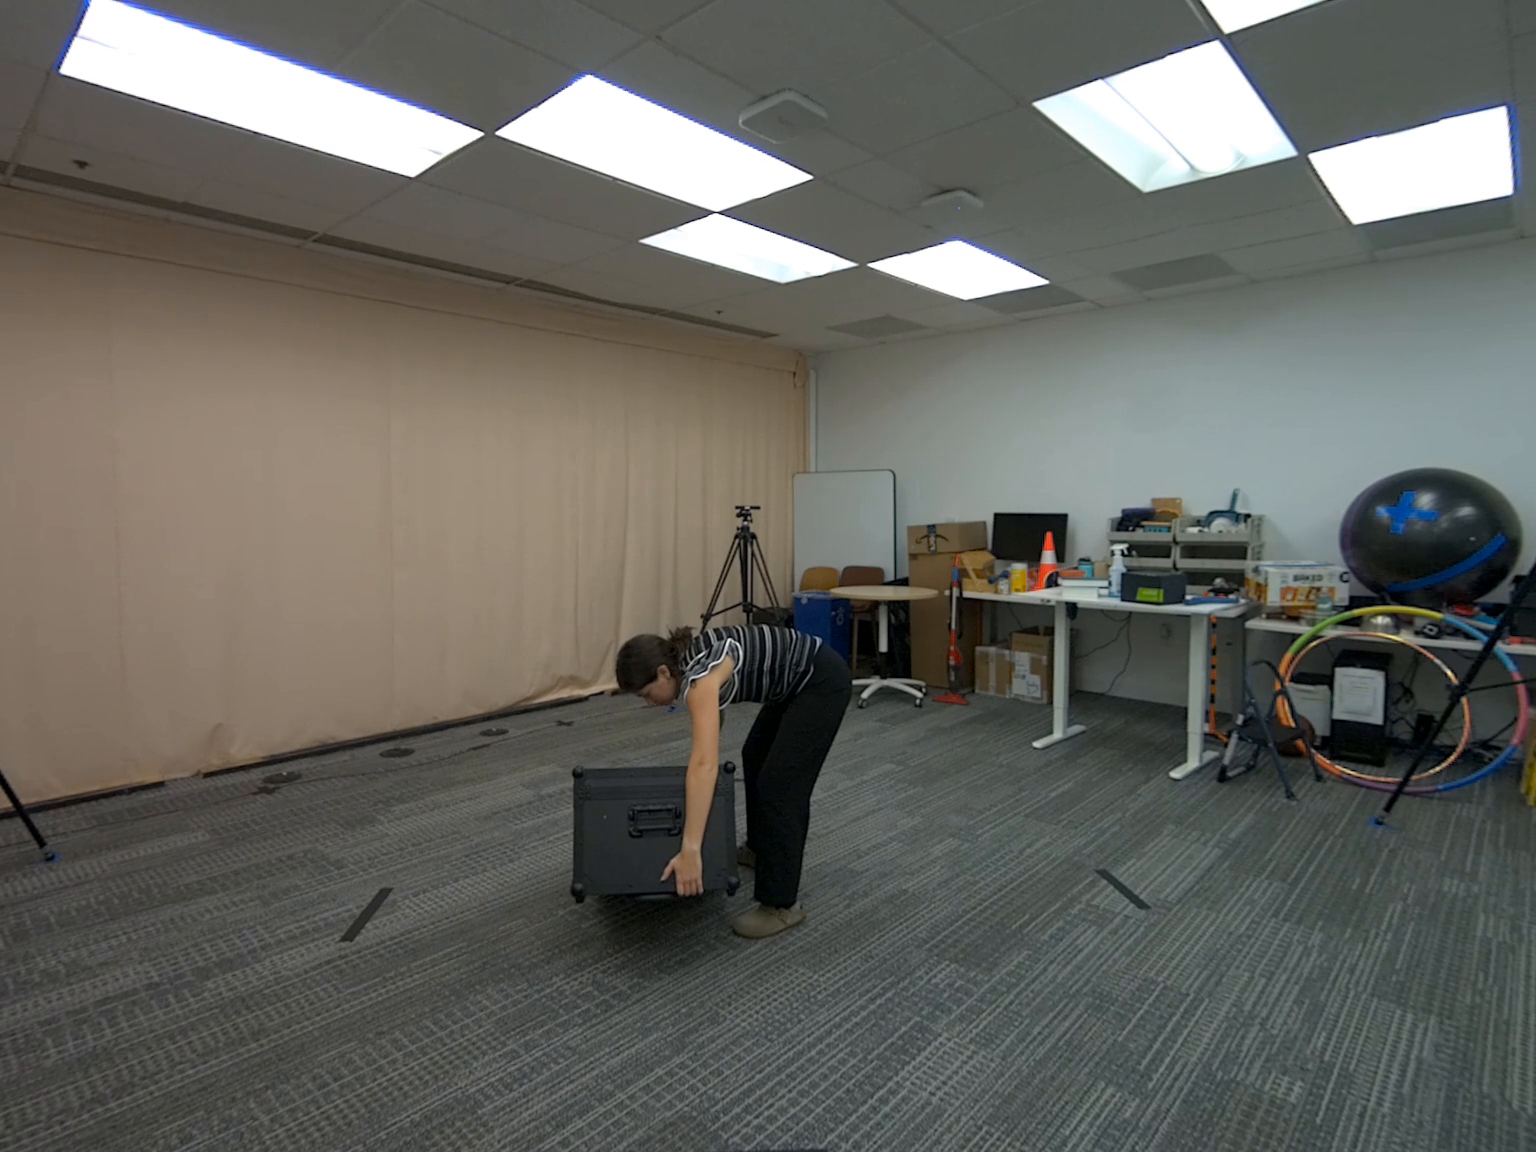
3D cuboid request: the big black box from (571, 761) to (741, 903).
[{"bbox_3d":[-0.391,0.875,2.866,0.517,0.401,0.858,-2,-16,-8],"label":"big black box"}]
